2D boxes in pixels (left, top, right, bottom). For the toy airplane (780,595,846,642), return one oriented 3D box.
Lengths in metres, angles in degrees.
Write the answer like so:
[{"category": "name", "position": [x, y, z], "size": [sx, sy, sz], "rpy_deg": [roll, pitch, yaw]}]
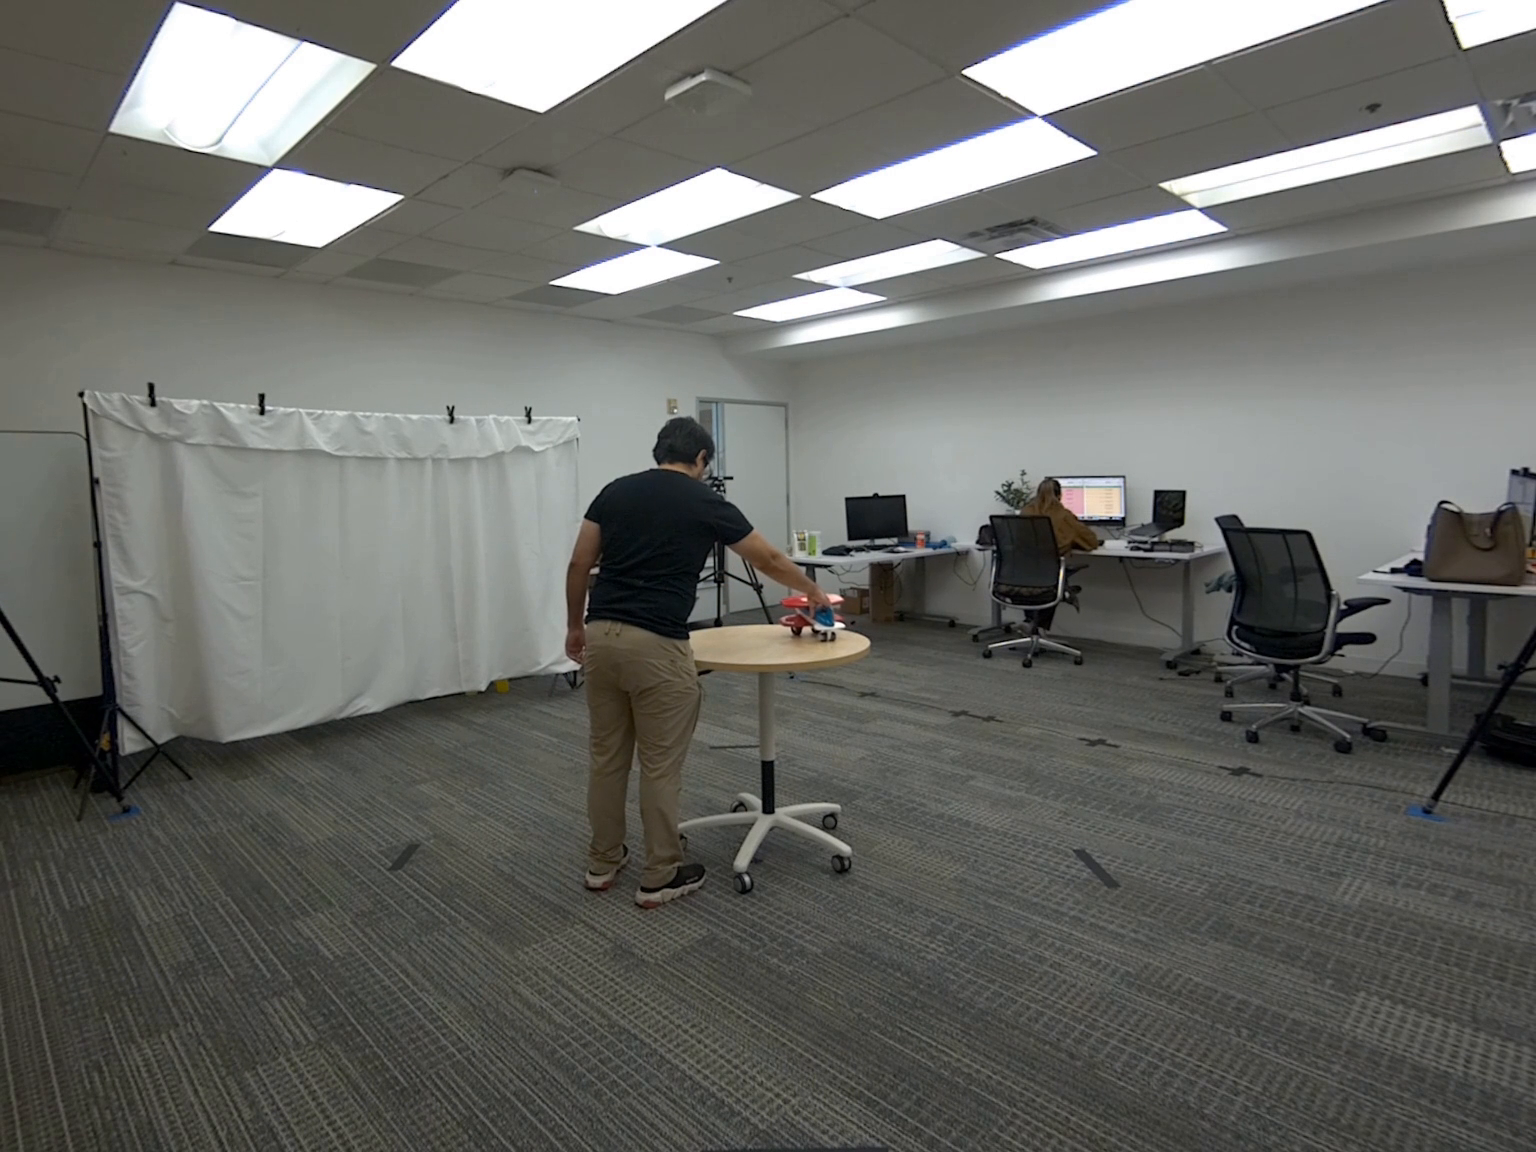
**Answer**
[{"category": "toy airplane", "position": [0.197, 0.156, 3.235], "size": [0.267, 0.156, 0.244], "rpy_deg": [2, 6, 41]}]
